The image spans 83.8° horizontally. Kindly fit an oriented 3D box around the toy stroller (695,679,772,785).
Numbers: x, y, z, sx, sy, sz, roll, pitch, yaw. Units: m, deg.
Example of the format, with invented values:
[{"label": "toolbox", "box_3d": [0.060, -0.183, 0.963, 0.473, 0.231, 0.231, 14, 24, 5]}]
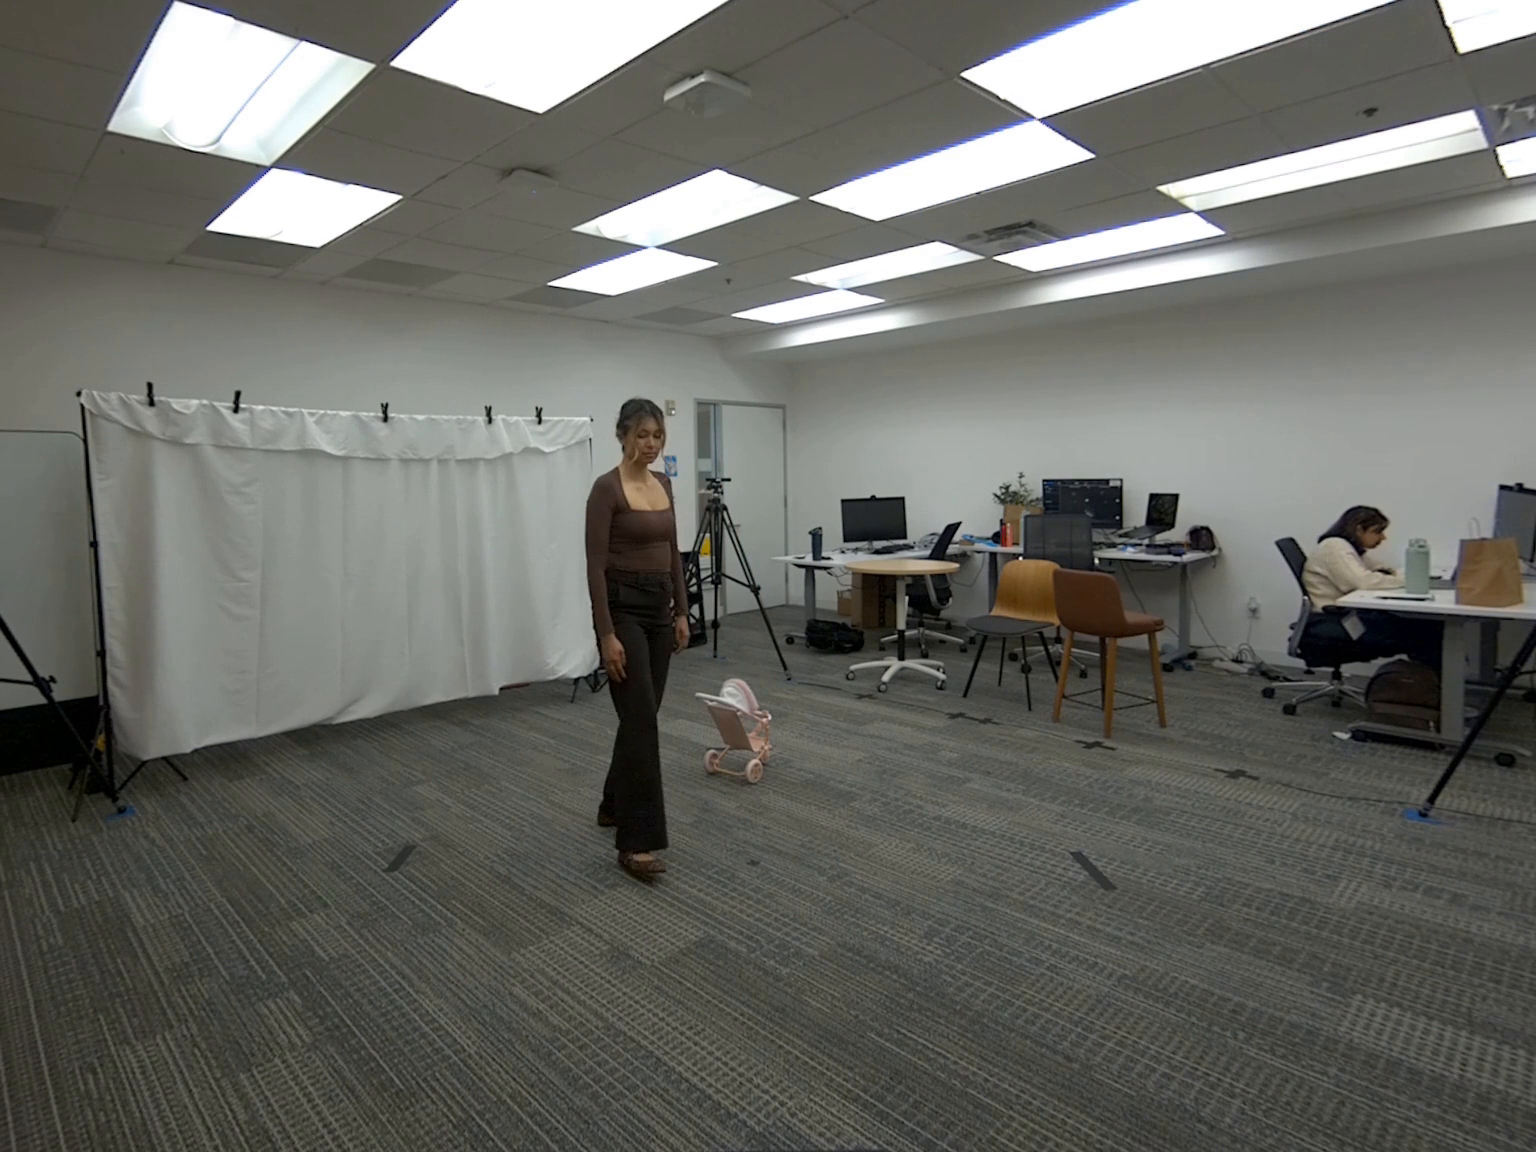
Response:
[{"label": "toy stroller", "box_3d": [-0.131, 0.717, 4.034, 0.290, 0.525, 0.337, 3, 23, 42]}]
